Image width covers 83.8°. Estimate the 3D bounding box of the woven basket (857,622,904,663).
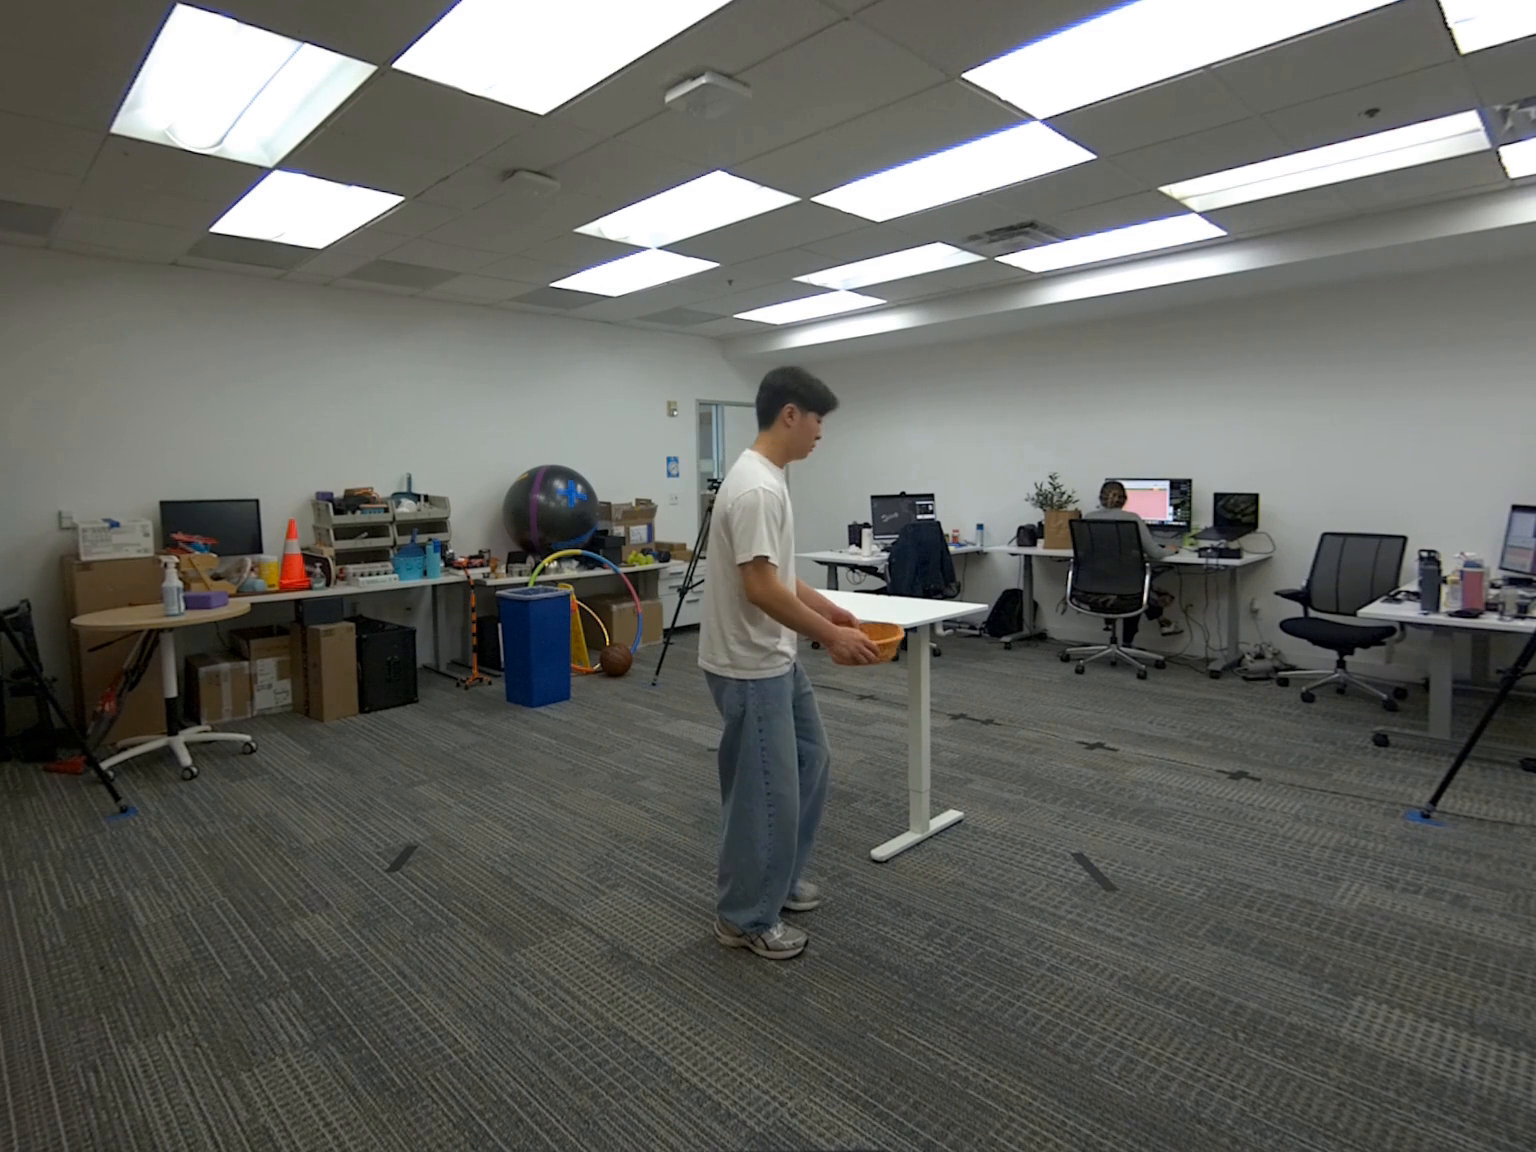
[{"bbox_3d":[0.307,0.215,2.537,0.250,0.073,0.355,-2,6,-11],"label":"woven basket"}]
